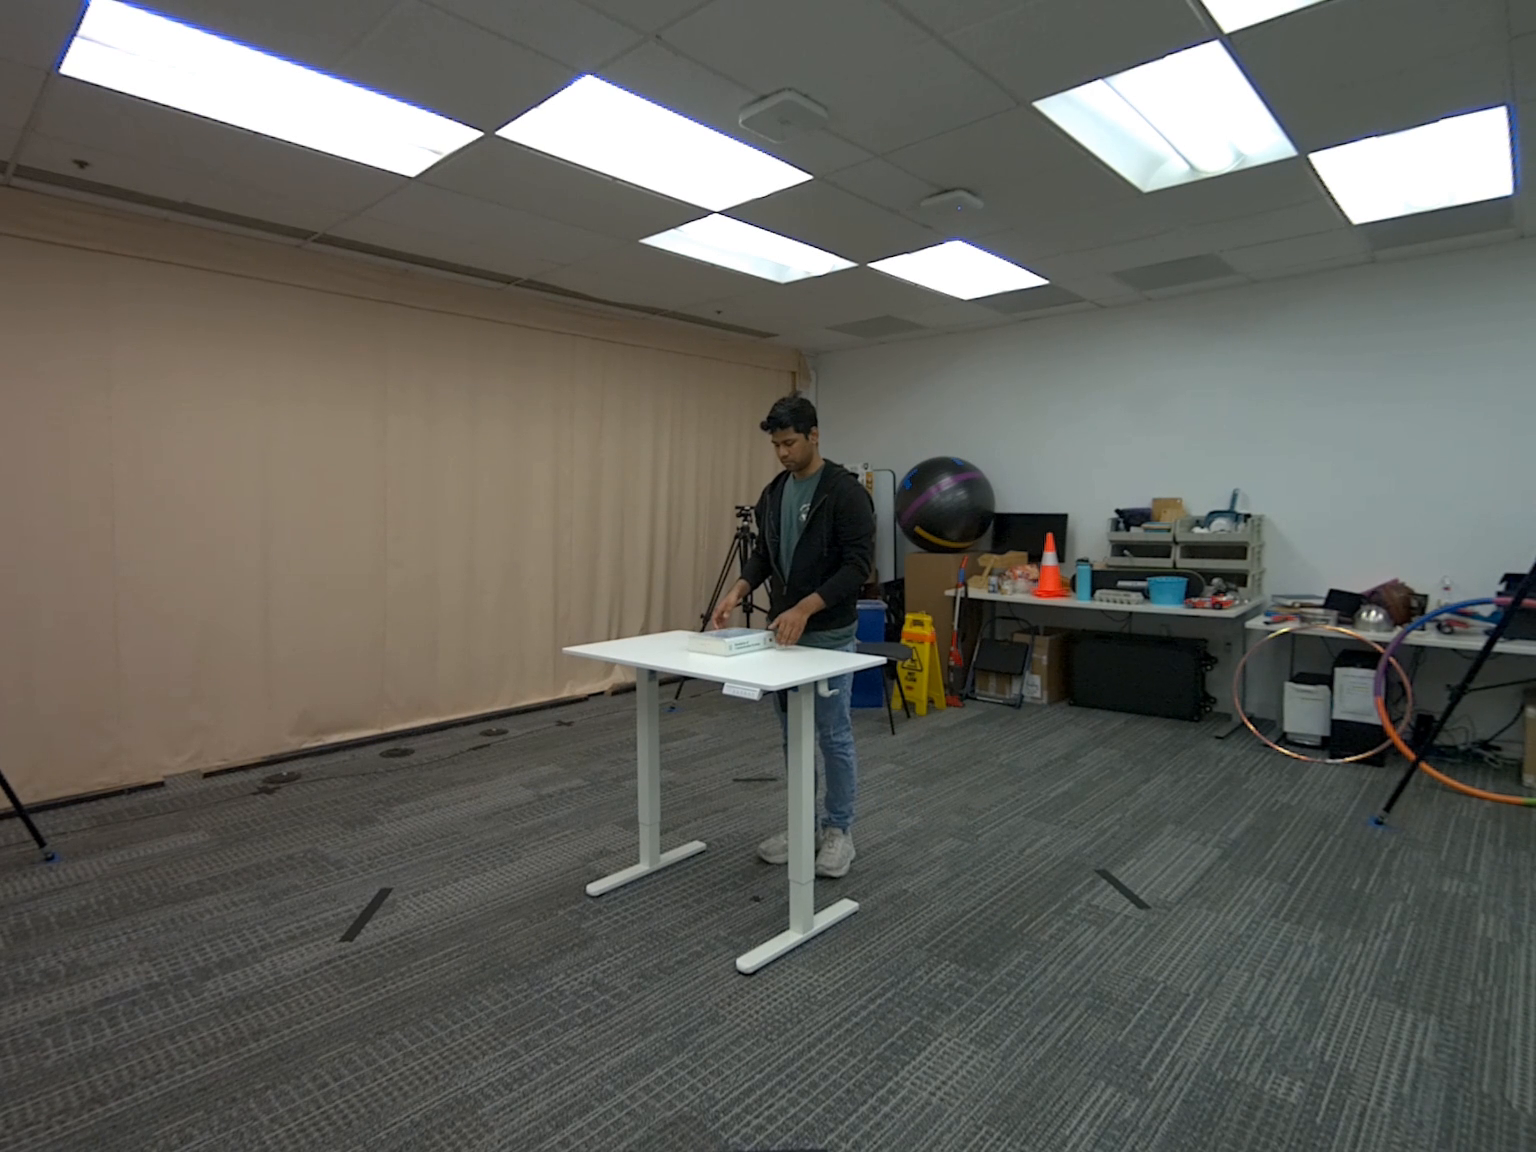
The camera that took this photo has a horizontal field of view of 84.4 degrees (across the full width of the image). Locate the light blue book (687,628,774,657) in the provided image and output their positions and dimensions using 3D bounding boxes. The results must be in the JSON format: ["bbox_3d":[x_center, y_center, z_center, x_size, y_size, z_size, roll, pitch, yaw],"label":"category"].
[{"bbox_3d":[-0.127,0.237,3.016,0.198,0.059,0.253,4,6,42],"label":"light blue book"}]
